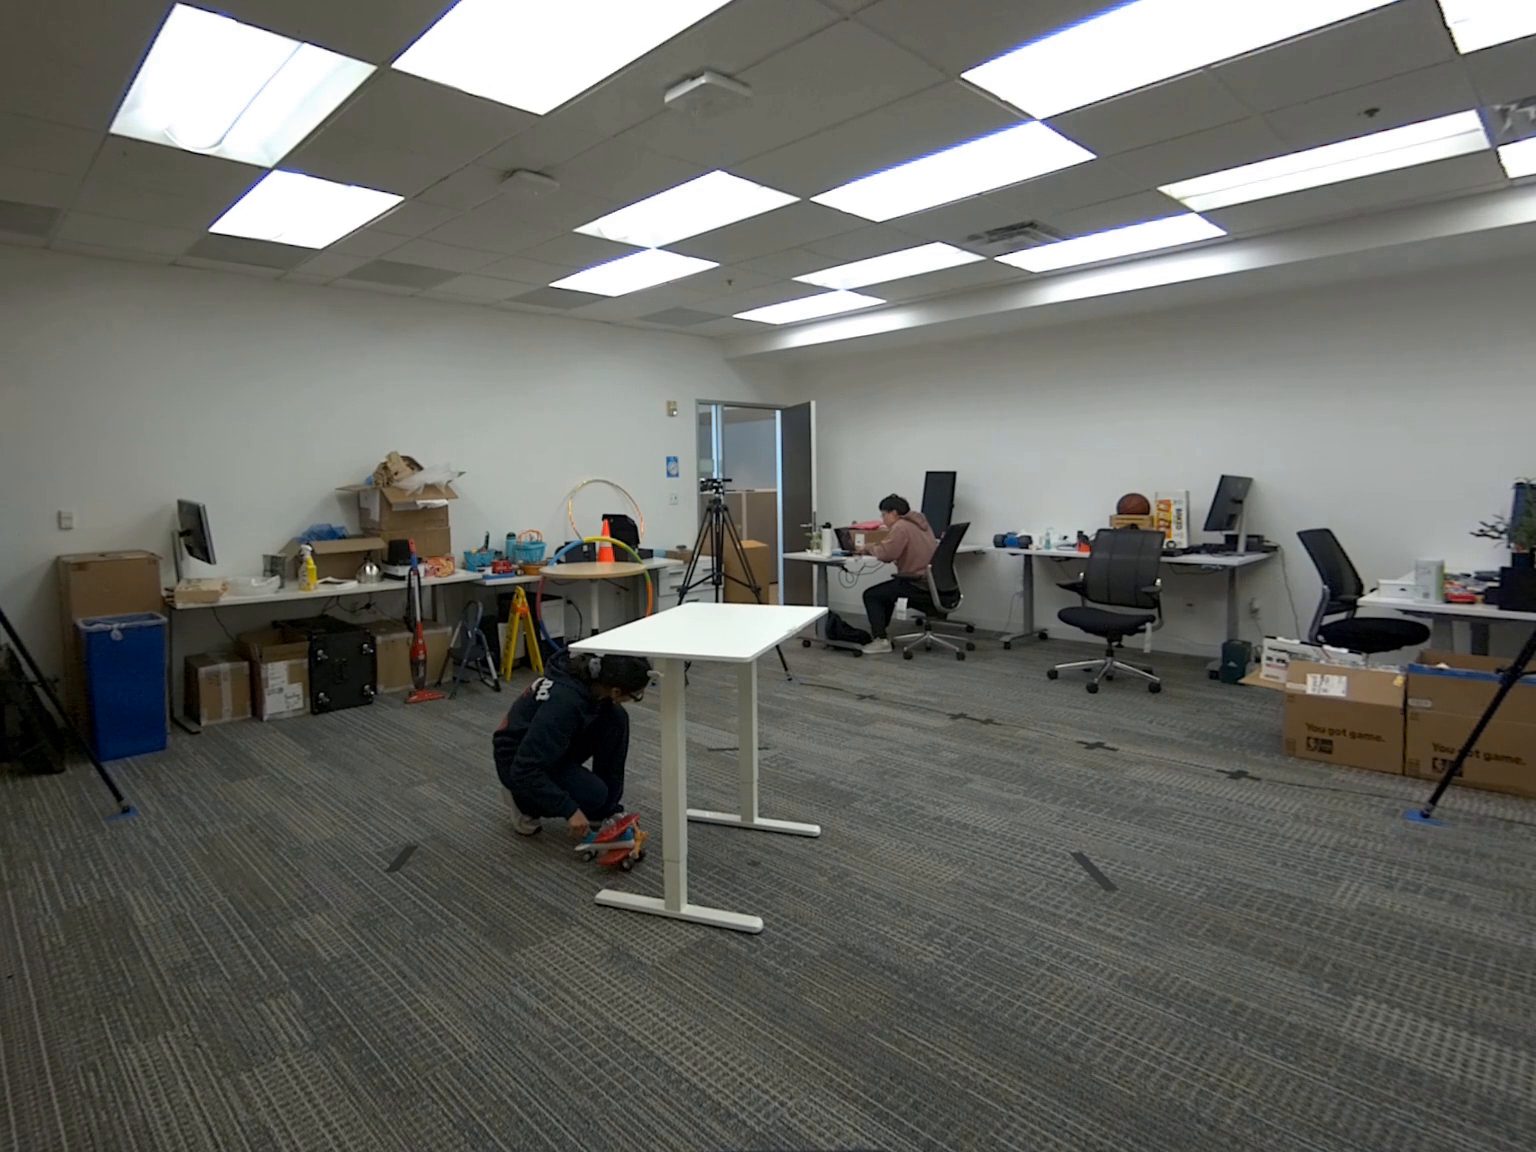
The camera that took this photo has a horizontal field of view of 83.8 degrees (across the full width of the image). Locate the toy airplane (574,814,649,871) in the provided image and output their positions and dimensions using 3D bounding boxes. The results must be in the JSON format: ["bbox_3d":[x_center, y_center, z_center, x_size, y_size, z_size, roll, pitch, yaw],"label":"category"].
[{"bbox_3d":[-0.569,0.979,3.097,0.257,0.156,0.253,-1,4,-8],"label":"toy airplane"}]
